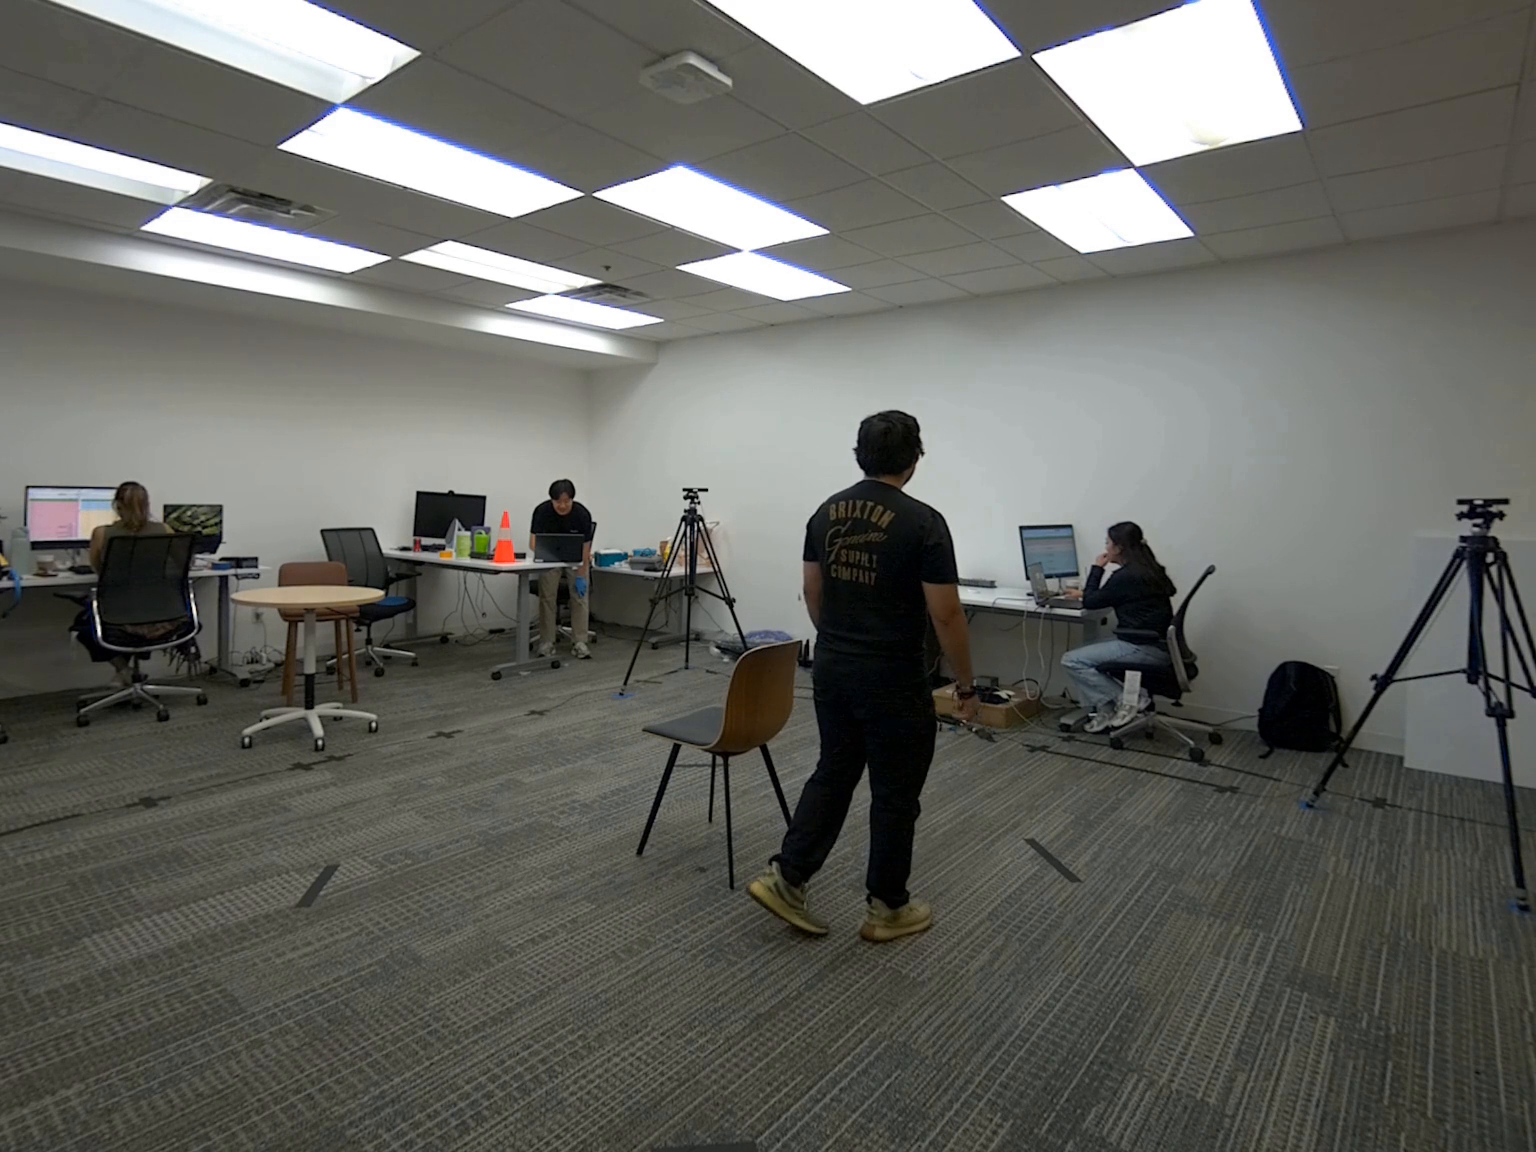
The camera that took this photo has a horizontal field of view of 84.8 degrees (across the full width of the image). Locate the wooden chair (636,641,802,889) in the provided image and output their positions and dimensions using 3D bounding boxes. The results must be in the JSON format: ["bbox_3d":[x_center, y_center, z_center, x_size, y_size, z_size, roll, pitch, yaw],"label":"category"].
[{"bbox_3d":[-0.193,0.631,3.238,0.541,0.873,0.464,9,7,36],"label":"wooden chair"}]
